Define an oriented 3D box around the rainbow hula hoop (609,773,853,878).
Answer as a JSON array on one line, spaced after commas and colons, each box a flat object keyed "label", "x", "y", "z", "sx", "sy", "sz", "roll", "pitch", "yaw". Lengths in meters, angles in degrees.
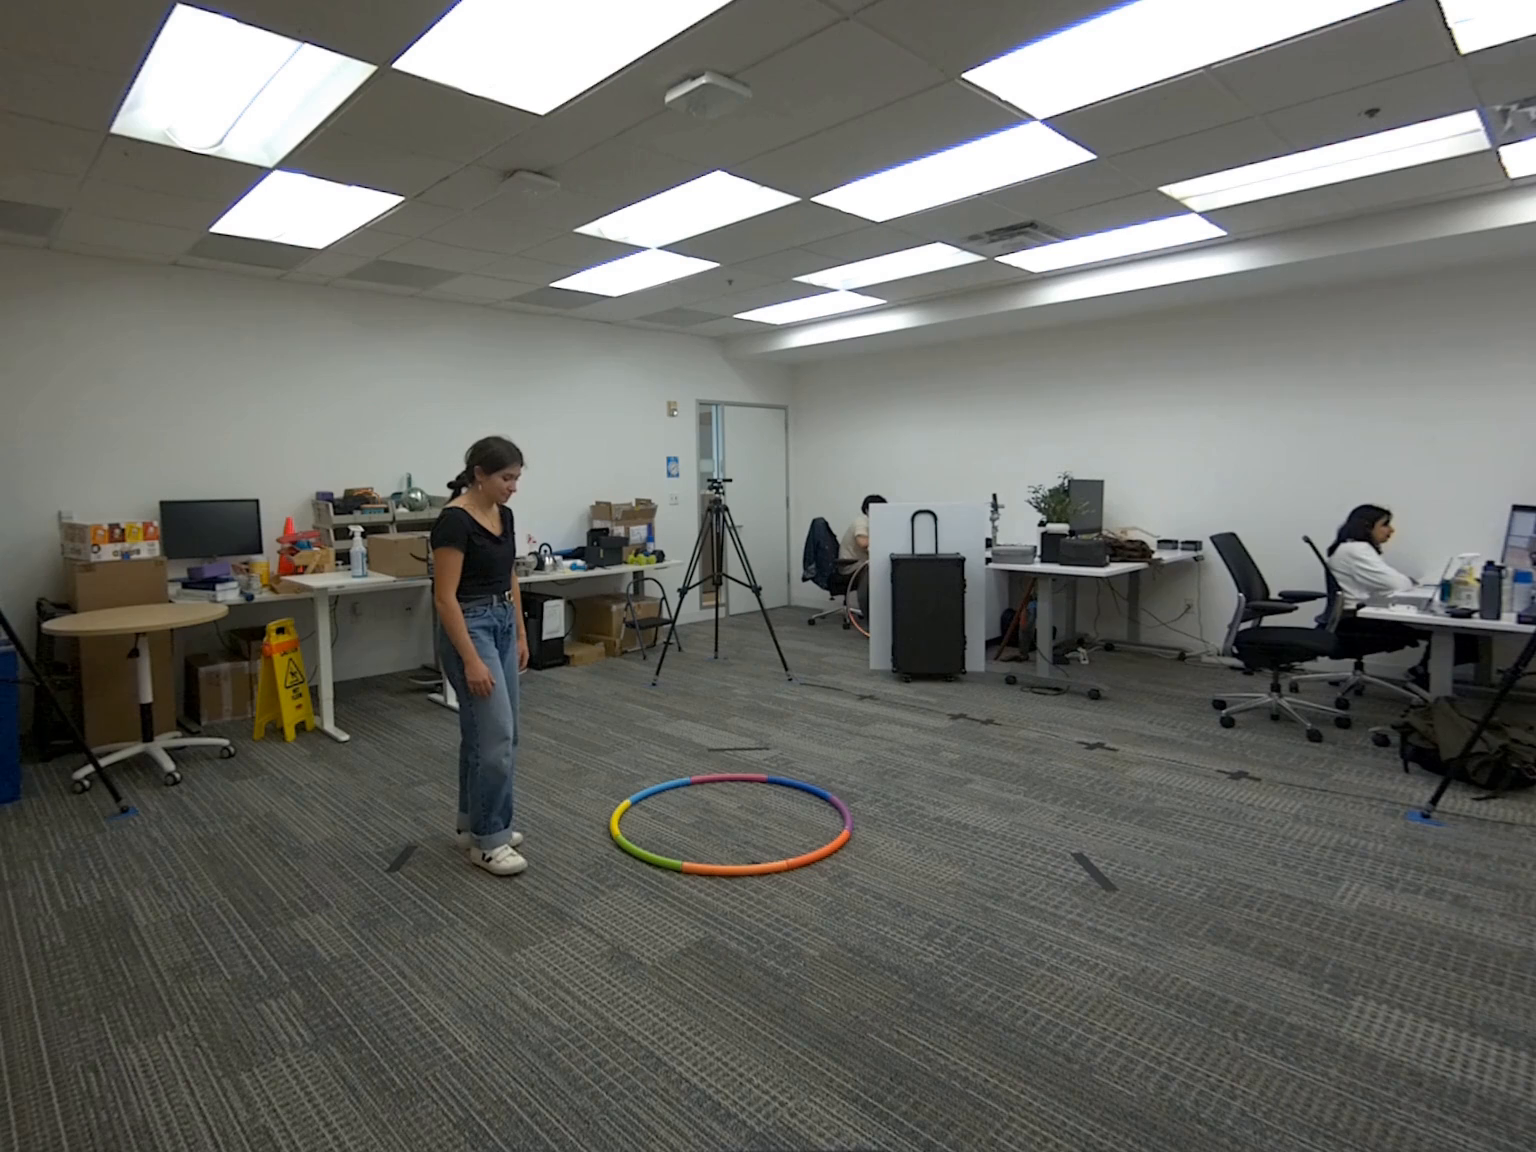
[{"label": "rainbow hula hoop", "x": -0.149, "y": 0.974, "z": 3.488, "sx": 0.978, "sy": 0.035, "sz": 0.984, "roll": -1, "pitch": 6, "yaw": -2}]
